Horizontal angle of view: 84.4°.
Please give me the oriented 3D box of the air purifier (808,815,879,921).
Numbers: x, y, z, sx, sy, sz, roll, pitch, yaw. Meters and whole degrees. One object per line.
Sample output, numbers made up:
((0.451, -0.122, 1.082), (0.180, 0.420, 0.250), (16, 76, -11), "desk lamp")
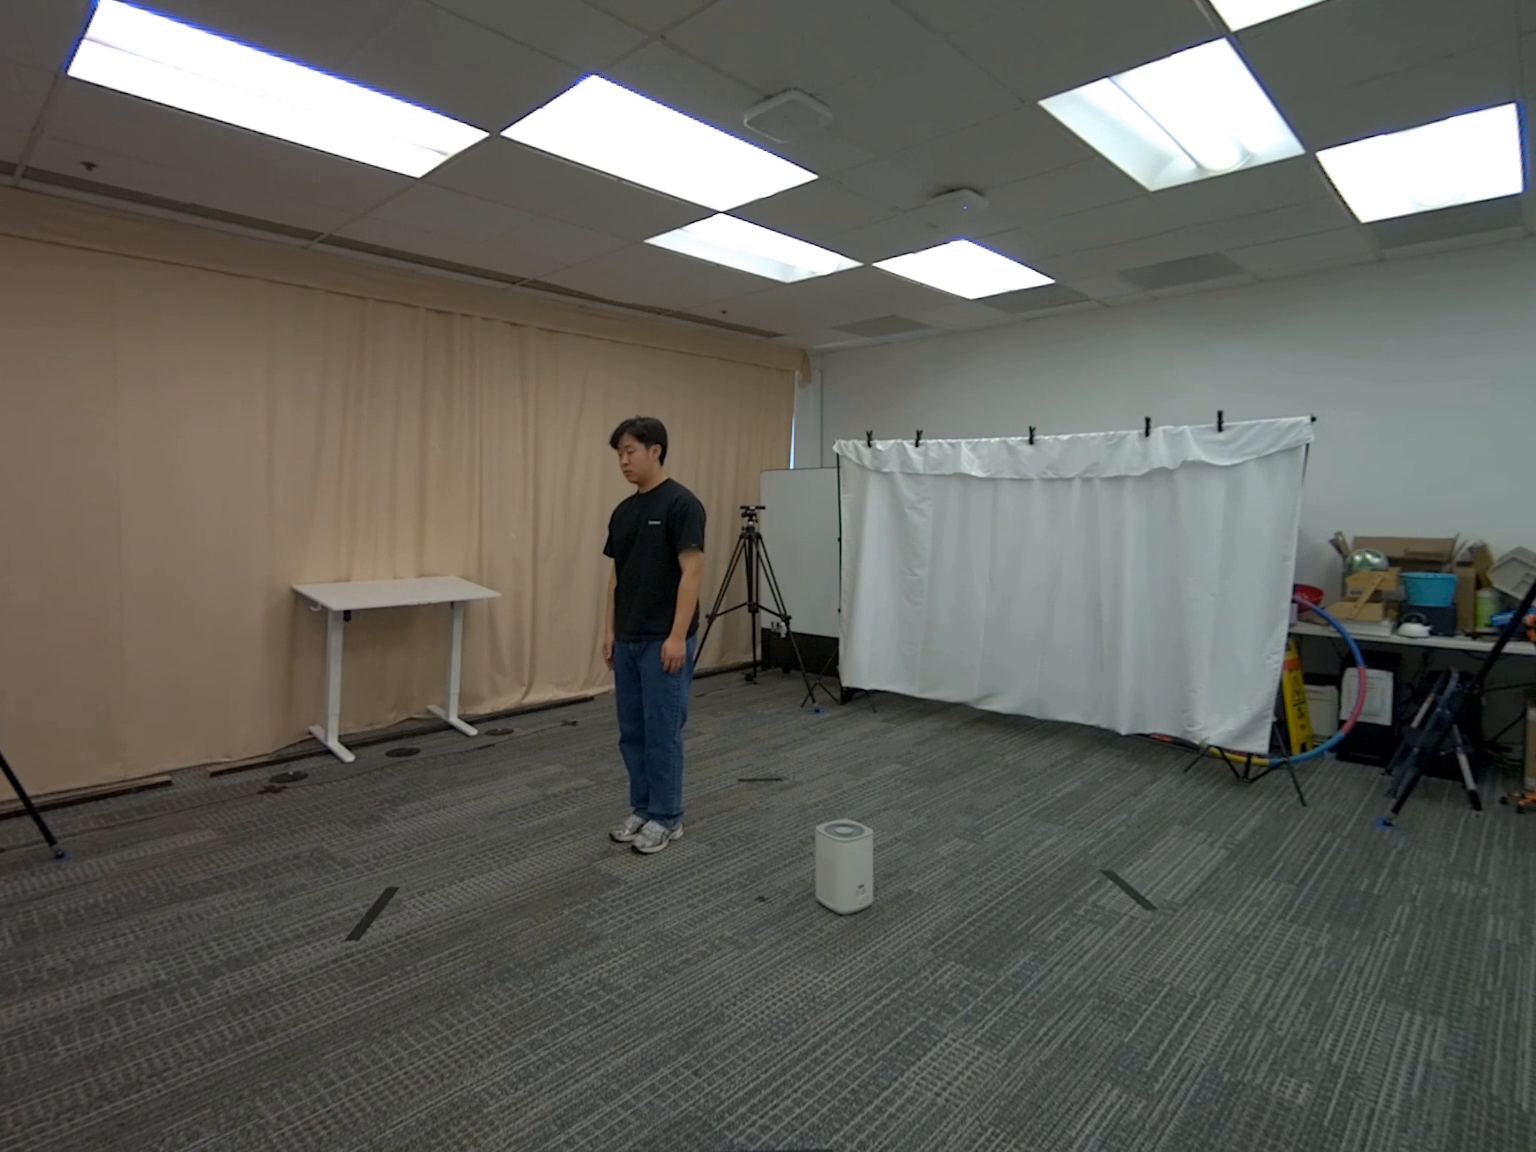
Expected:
((0.260, 1.004, 2.937), (0.166, 0.265, 0.177), (-3, 4, -38), "air purifier")
